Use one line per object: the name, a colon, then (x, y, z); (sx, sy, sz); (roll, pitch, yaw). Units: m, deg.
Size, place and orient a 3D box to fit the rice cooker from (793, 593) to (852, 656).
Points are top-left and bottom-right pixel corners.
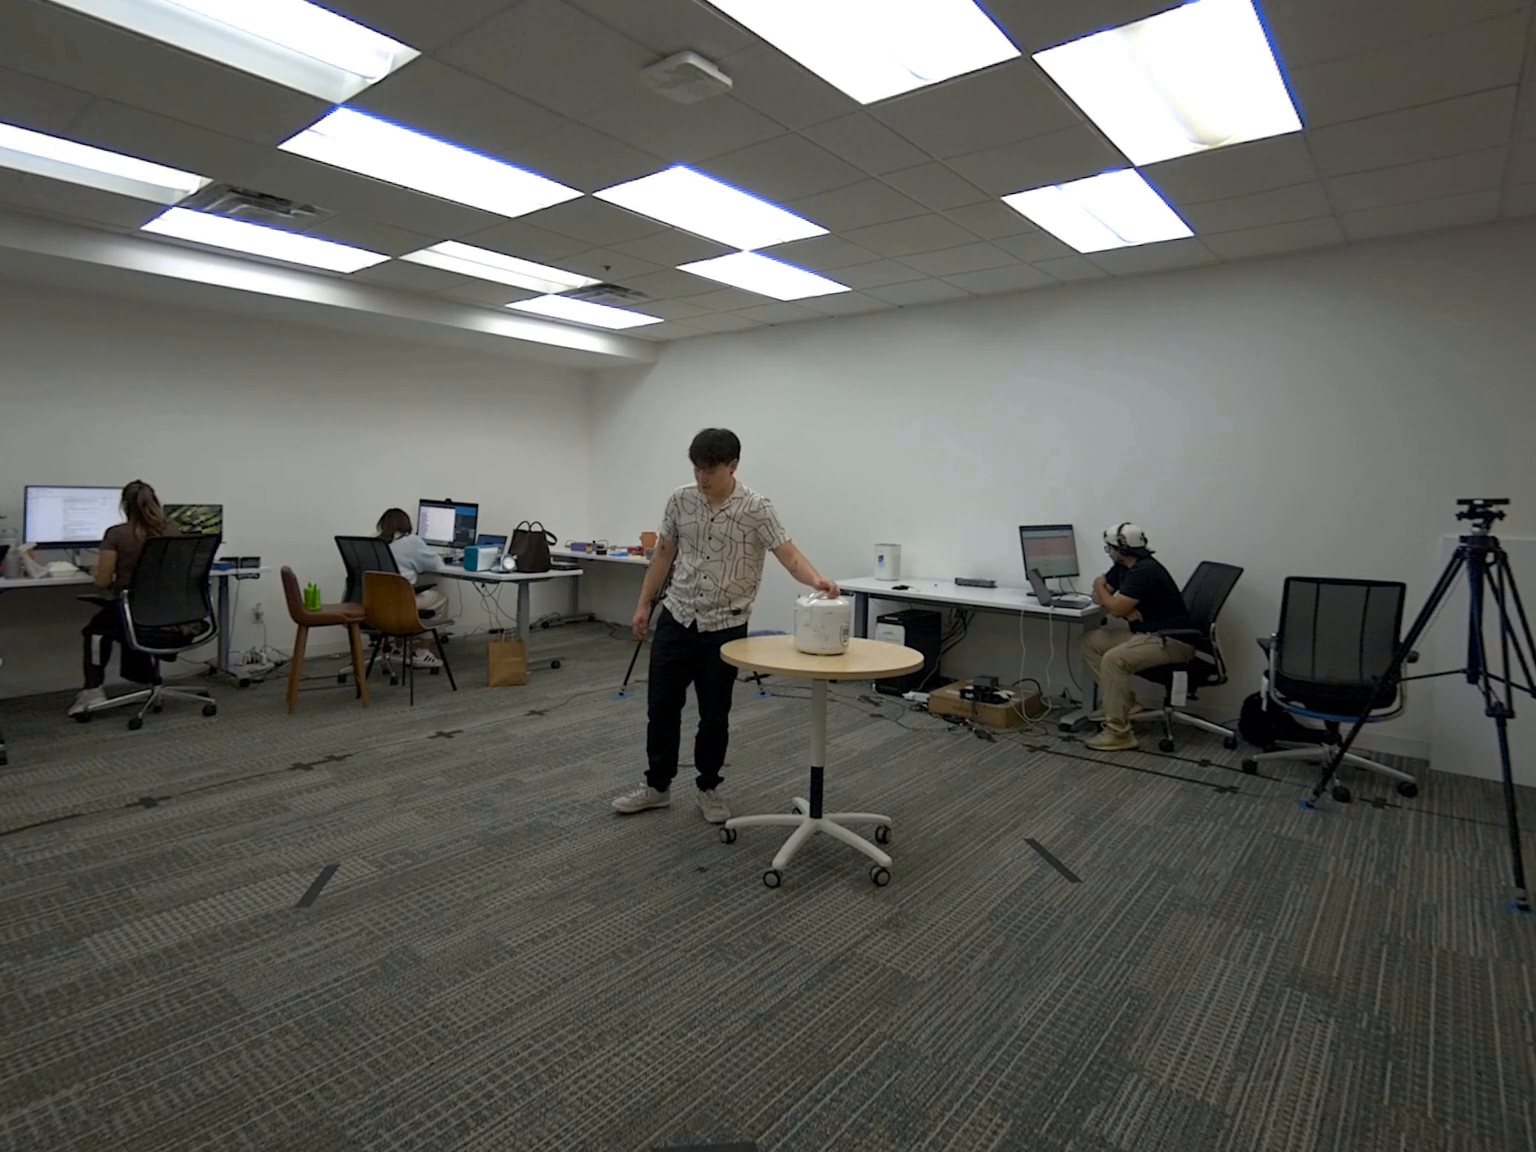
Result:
rice cooker: (0.203, 0.169, 3.228); (0.225, 0.232, 0.214); (3, 5, 41)
